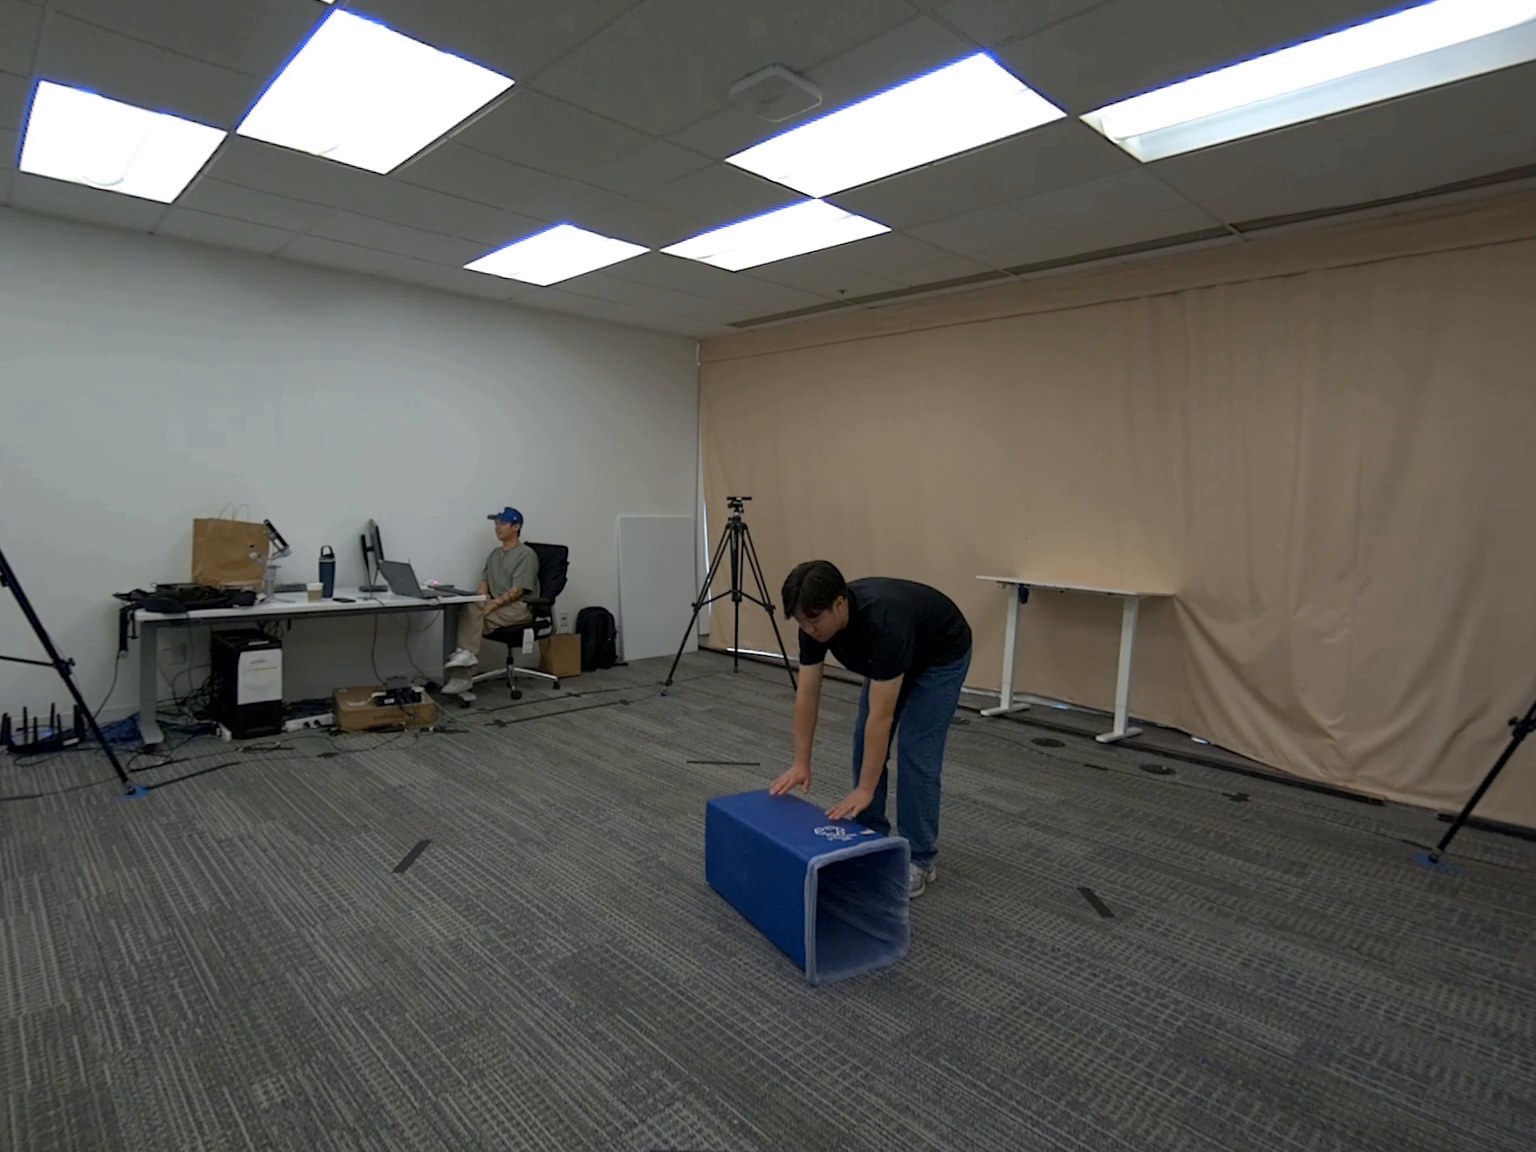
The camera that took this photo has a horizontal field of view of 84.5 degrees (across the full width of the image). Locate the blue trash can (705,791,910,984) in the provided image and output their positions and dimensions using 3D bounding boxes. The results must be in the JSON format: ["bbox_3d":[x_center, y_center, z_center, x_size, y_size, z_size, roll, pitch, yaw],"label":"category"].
[{"bbox_3d":[0.083,0.974,2.783,0.366,0.378,0.729,-1,2,-32],"label":"blue trash can"}]
